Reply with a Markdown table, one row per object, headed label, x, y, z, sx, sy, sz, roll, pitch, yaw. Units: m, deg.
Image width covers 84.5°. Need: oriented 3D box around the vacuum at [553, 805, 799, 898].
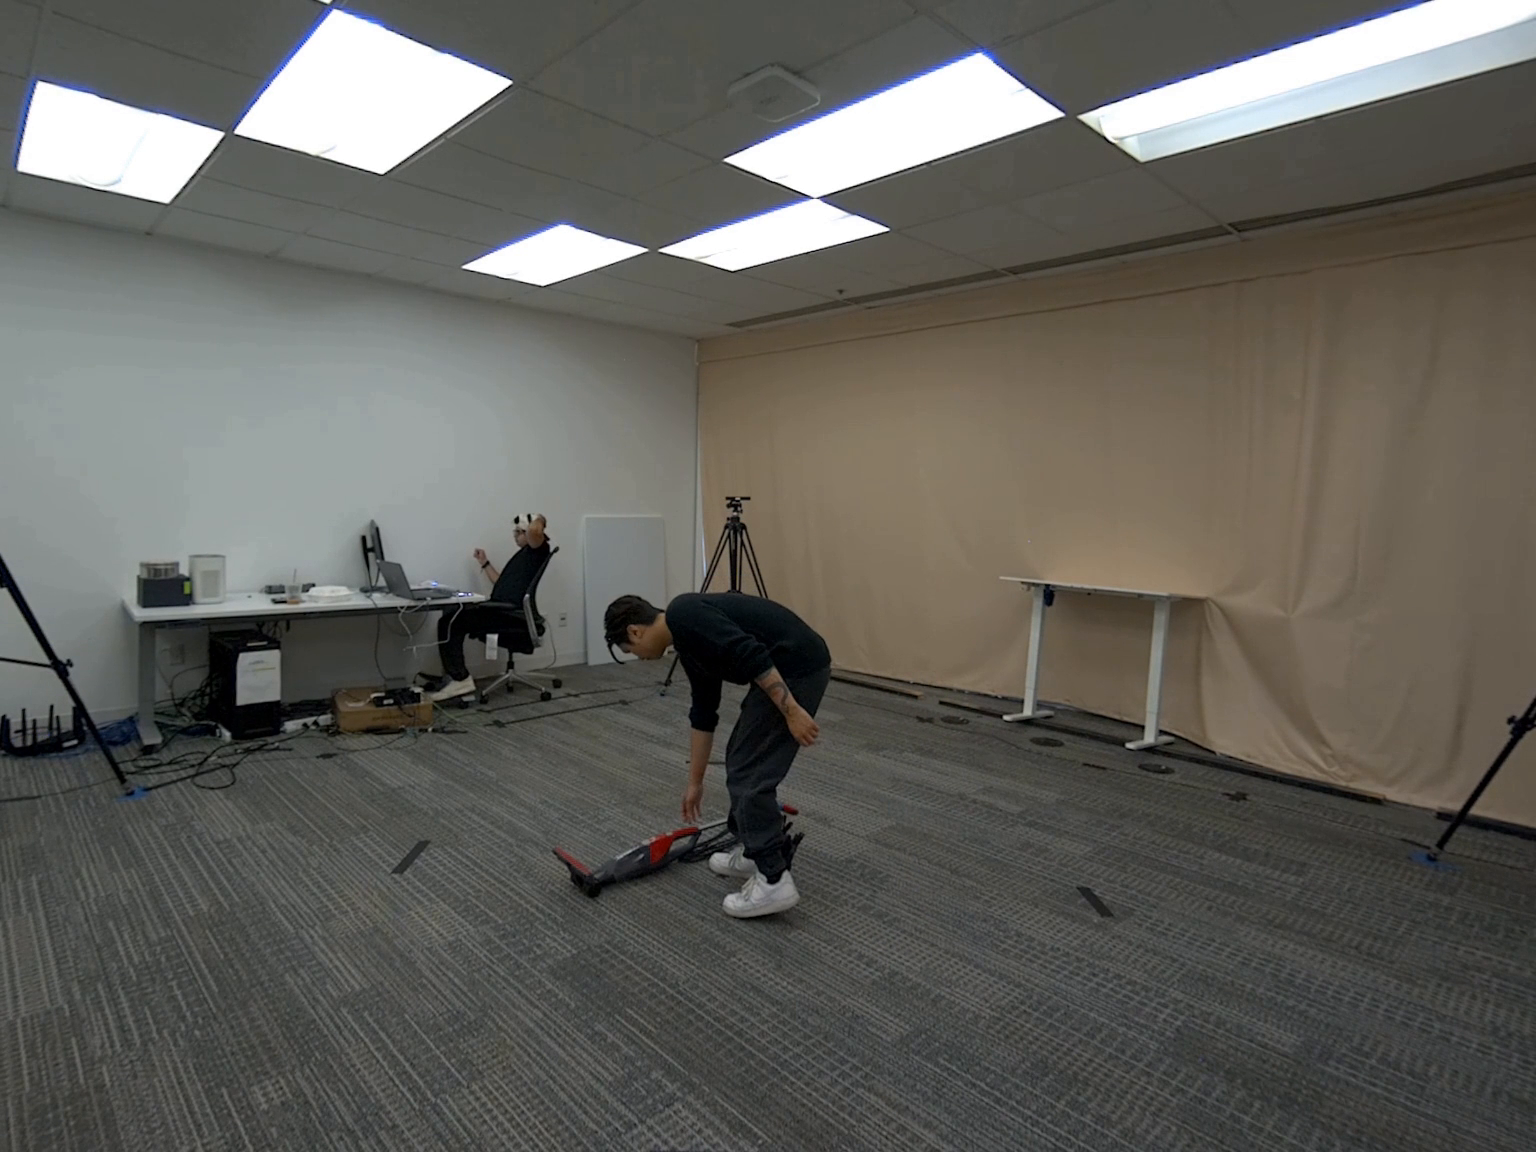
| label | x | y | z | sx | sy | sz | roll | pitch | yaw |
| --- | --- | --- | --- | --- | --- | --- | --- | --- | --- |
| vacuum | -0.280 | 1.027 | 3.270 | 1.025 | 0.143 | 0.259 | -2 | 8 | -39 |
